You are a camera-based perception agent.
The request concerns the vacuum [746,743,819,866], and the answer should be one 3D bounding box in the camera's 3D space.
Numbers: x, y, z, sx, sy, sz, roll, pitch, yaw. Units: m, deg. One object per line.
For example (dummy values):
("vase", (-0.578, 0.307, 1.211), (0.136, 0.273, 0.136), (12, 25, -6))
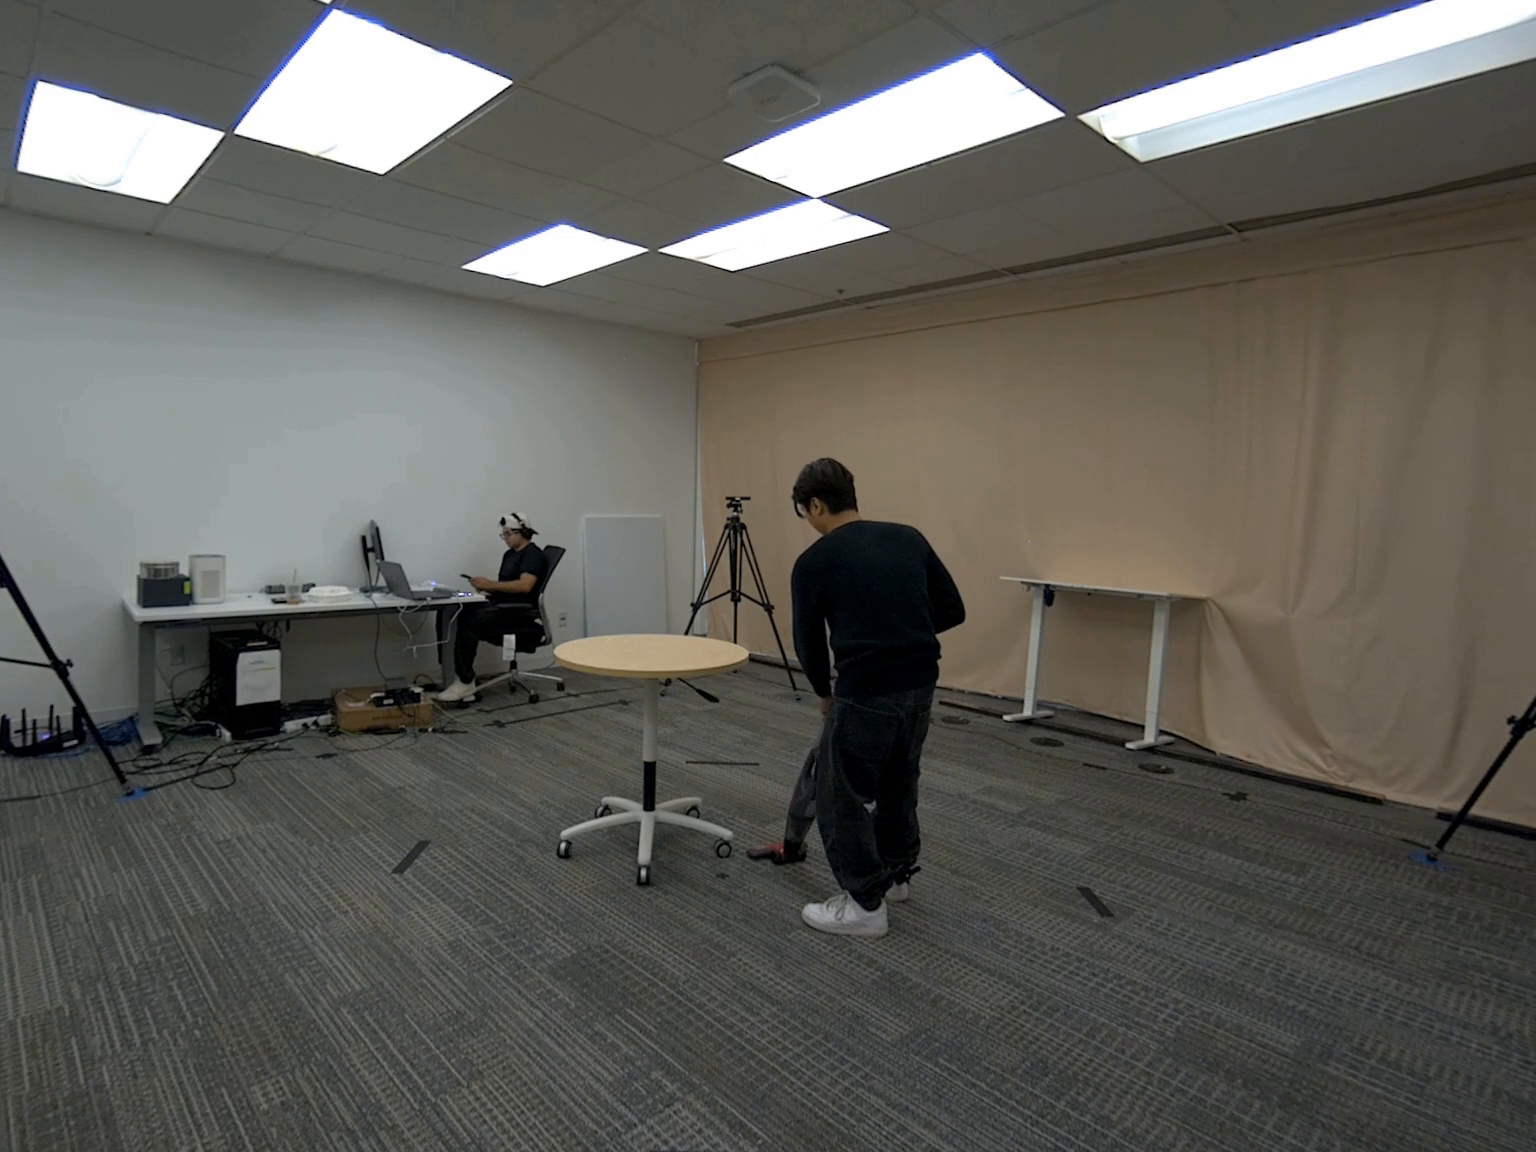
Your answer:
("vacuum", (0.183, 0.649, 3.040), (0.247, 1.037, 0.148), (-1, 30, -30))
